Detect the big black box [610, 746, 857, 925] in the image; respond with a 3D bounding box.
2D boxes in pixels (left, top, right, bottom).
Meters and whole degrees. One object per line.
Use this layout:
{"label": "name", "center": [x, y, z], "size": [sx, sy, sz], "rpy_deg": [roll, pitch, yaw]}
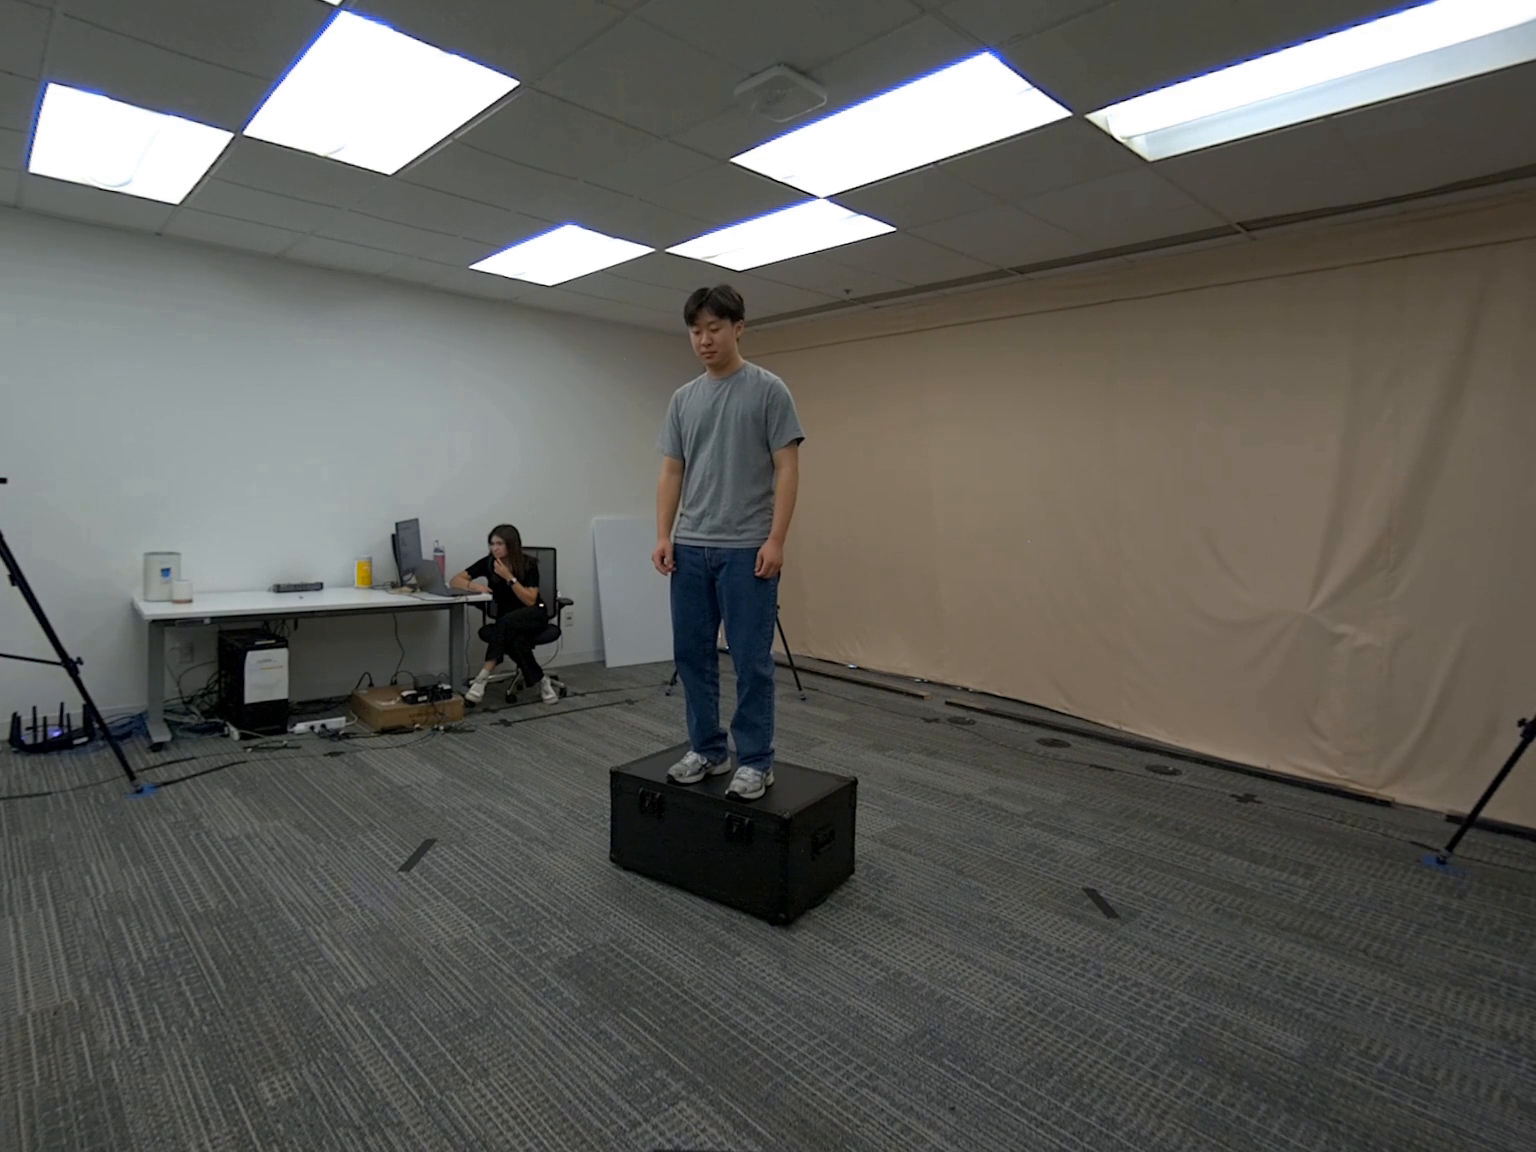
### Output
{"label": "big black box", "center": [-0.166, 0.911, 3.133], "size": [0.882, 0.395, 0.510], "rpy_deg": [5, 6, 34]}
